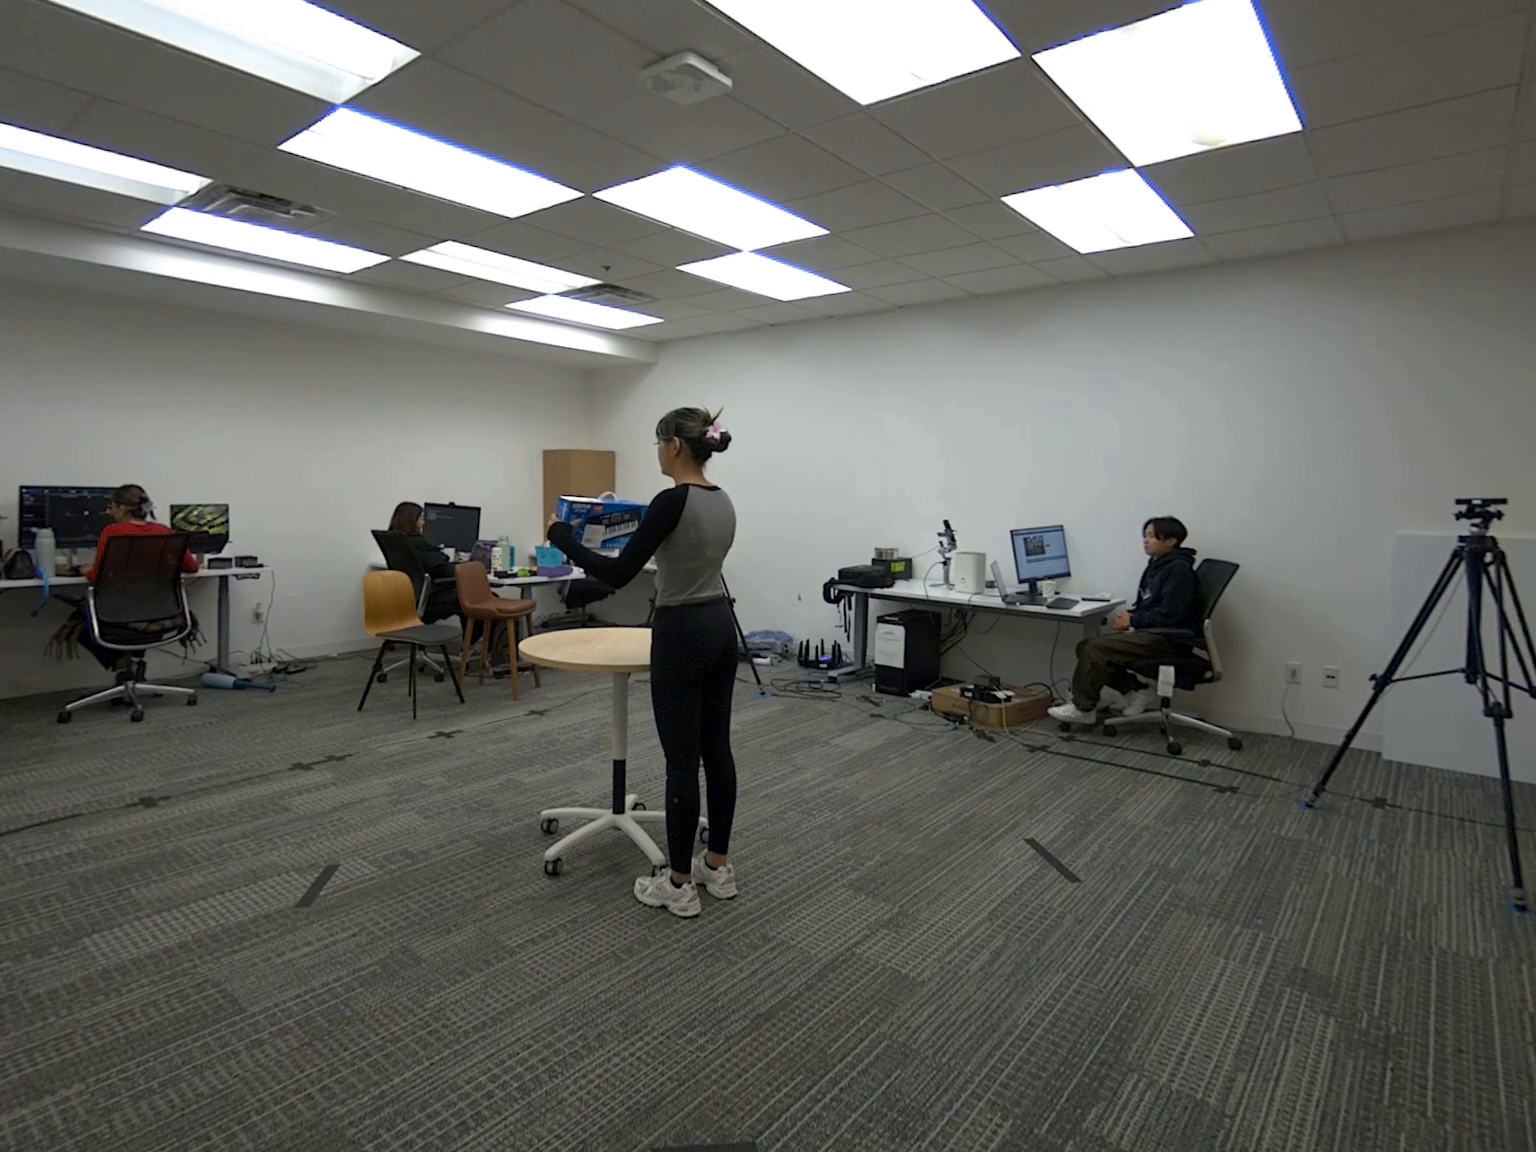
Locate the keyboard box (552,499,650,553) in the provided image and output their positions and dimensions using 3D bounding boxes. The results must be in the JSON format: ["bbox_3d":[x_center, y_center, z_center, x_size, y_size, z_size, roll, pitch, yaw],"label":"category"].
[{"bbox_3d":[-0.587,-0.179,3.017,0.061,0.175,0.425,16,10,27],"label":"keyboard box"}]
